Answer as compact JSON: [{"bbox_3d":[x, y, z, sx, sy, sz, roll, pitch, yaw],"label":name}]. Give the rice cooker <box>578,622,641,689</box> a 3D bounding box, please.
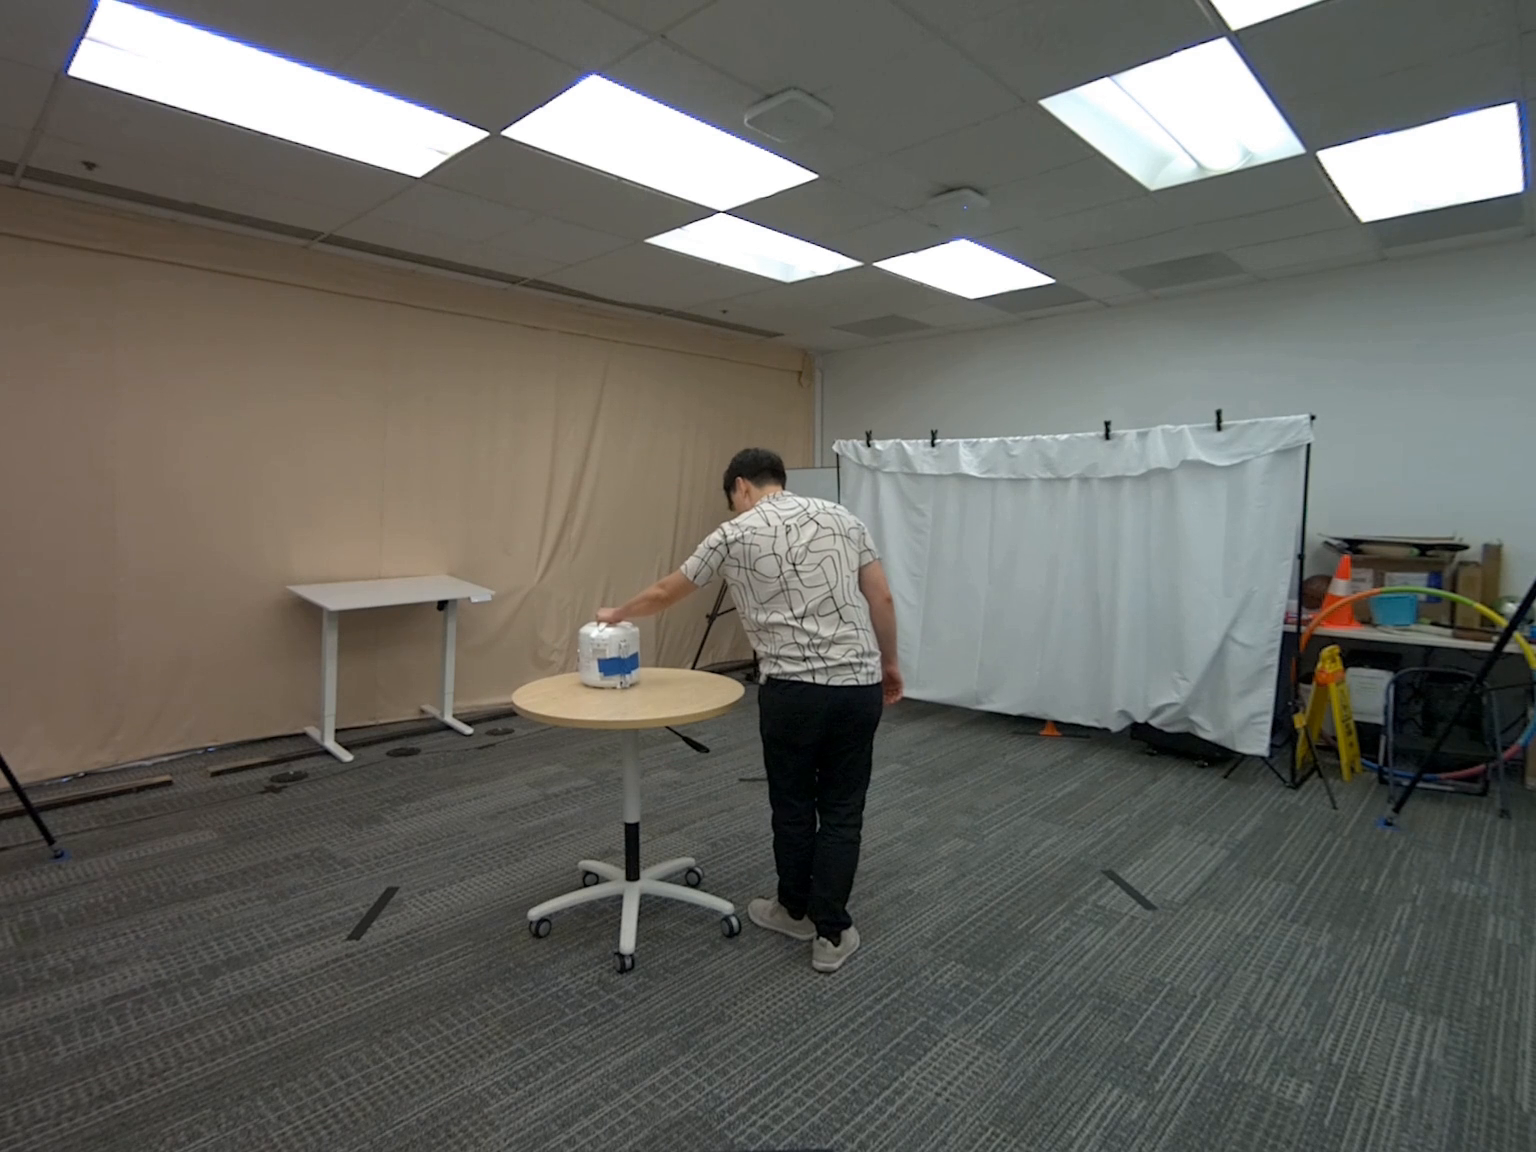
[{"bbox_3d":[-0.550,0.257,2.895,0.220,0.232,0.218,1,3,11],"label":"rice cooker"}]
